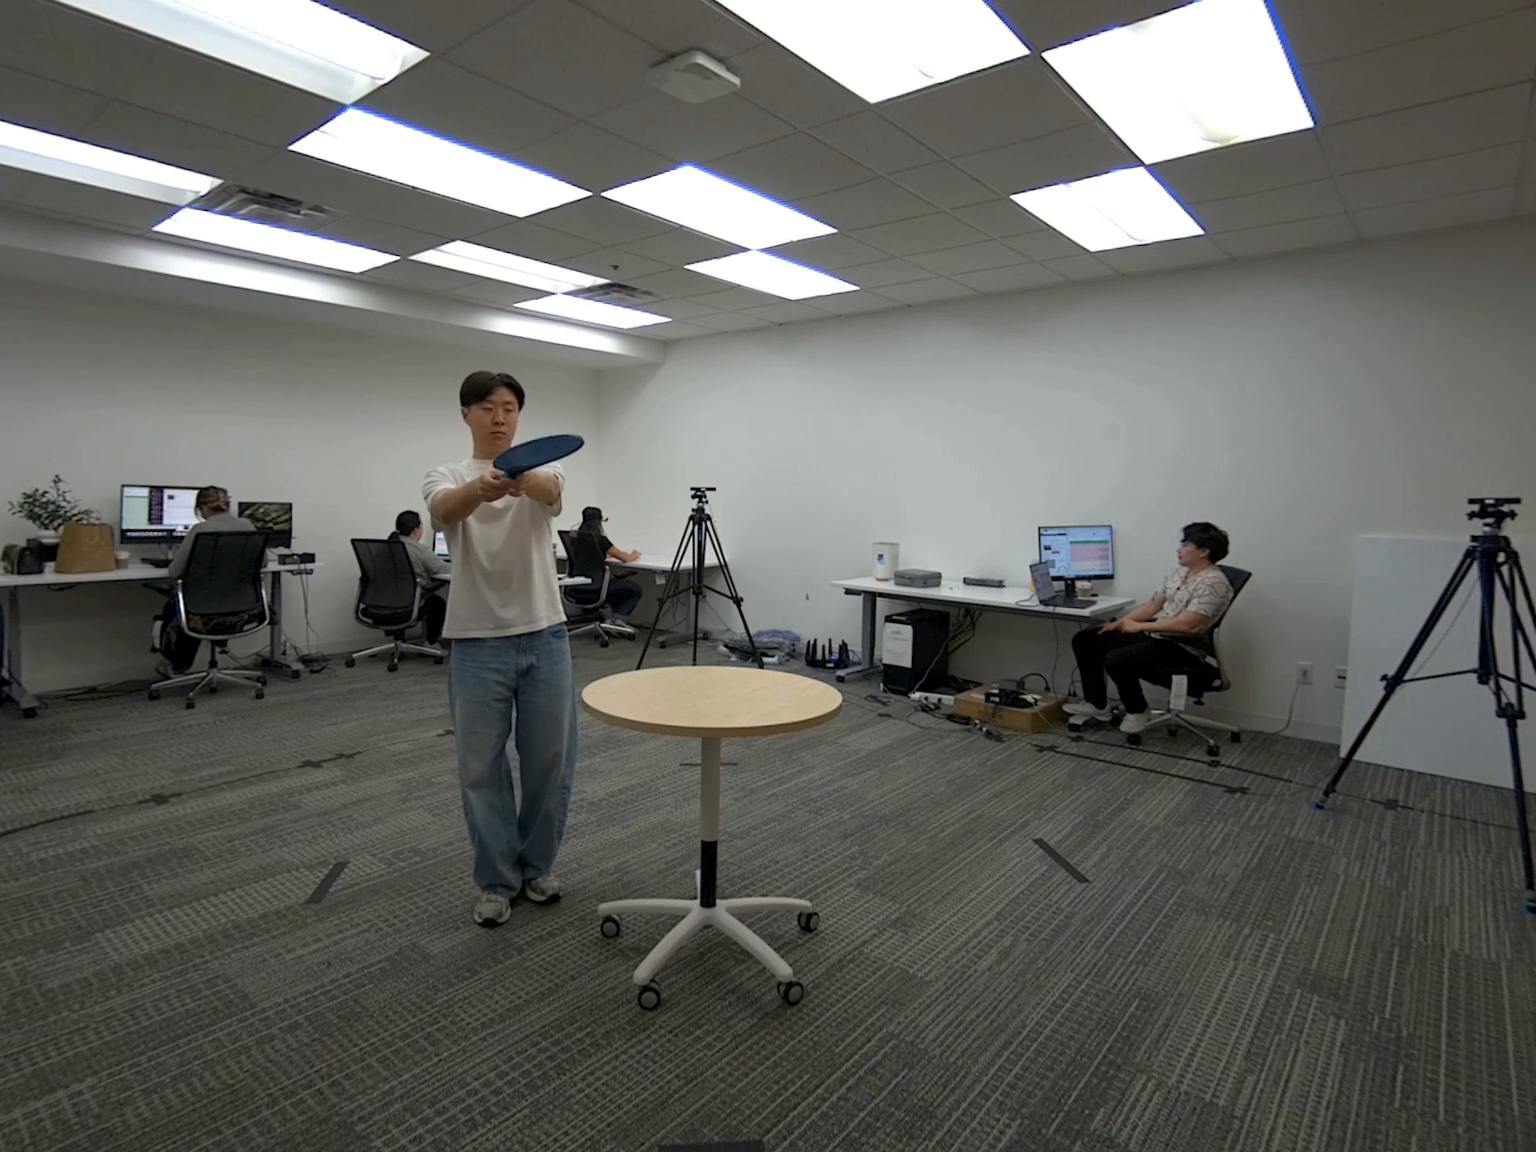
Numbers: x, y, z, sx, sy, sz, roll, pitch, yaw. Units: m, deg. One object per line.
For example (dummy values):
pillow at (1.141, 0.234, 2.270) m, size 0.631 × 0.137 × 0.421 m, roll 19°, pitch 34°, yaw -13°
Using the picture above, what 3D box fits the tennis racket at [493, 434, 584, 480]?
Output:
tennis racket at (-0.613, -0.285, 2.102) m, size 0.209 × 0.032 × 0.441 m, roll -15°, pitch -1°, yaw -35°
